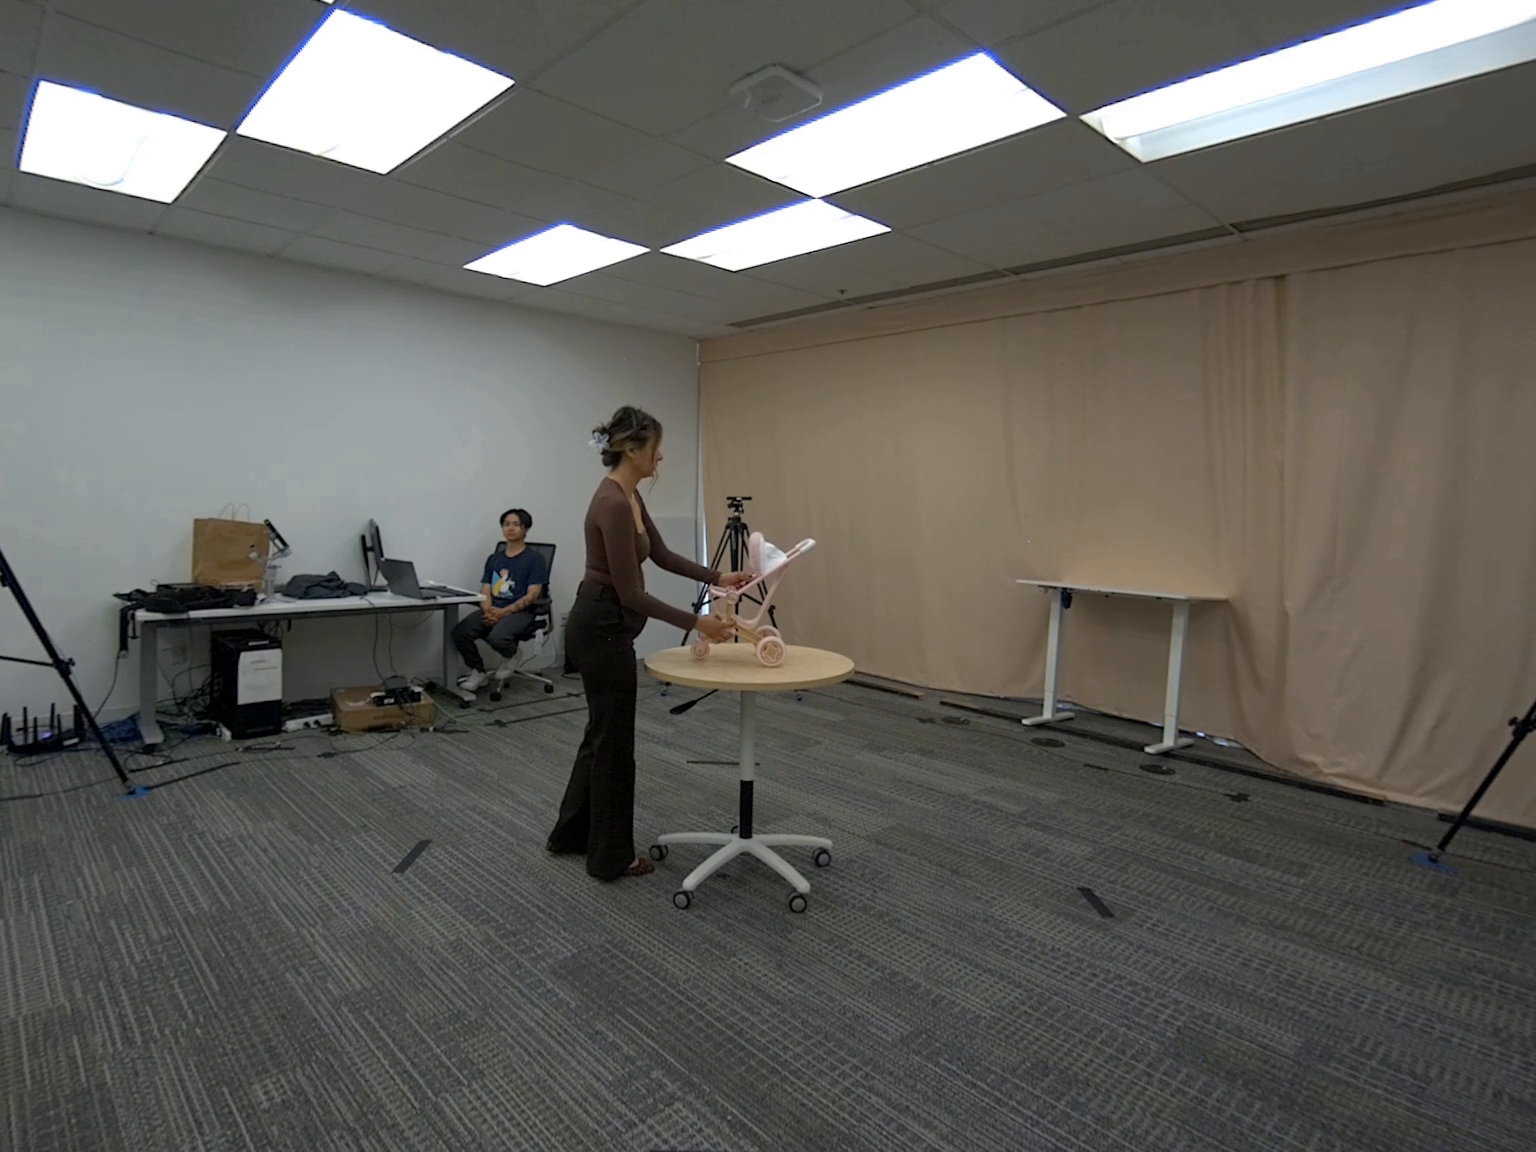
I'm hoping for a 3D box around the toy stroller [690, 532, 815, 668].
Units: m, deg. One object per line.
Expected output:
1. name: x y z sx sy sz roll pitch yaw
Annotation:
1. toy stroller: -0.072 0.084 3.080 0.342 0.534 0.281 15 4 1
